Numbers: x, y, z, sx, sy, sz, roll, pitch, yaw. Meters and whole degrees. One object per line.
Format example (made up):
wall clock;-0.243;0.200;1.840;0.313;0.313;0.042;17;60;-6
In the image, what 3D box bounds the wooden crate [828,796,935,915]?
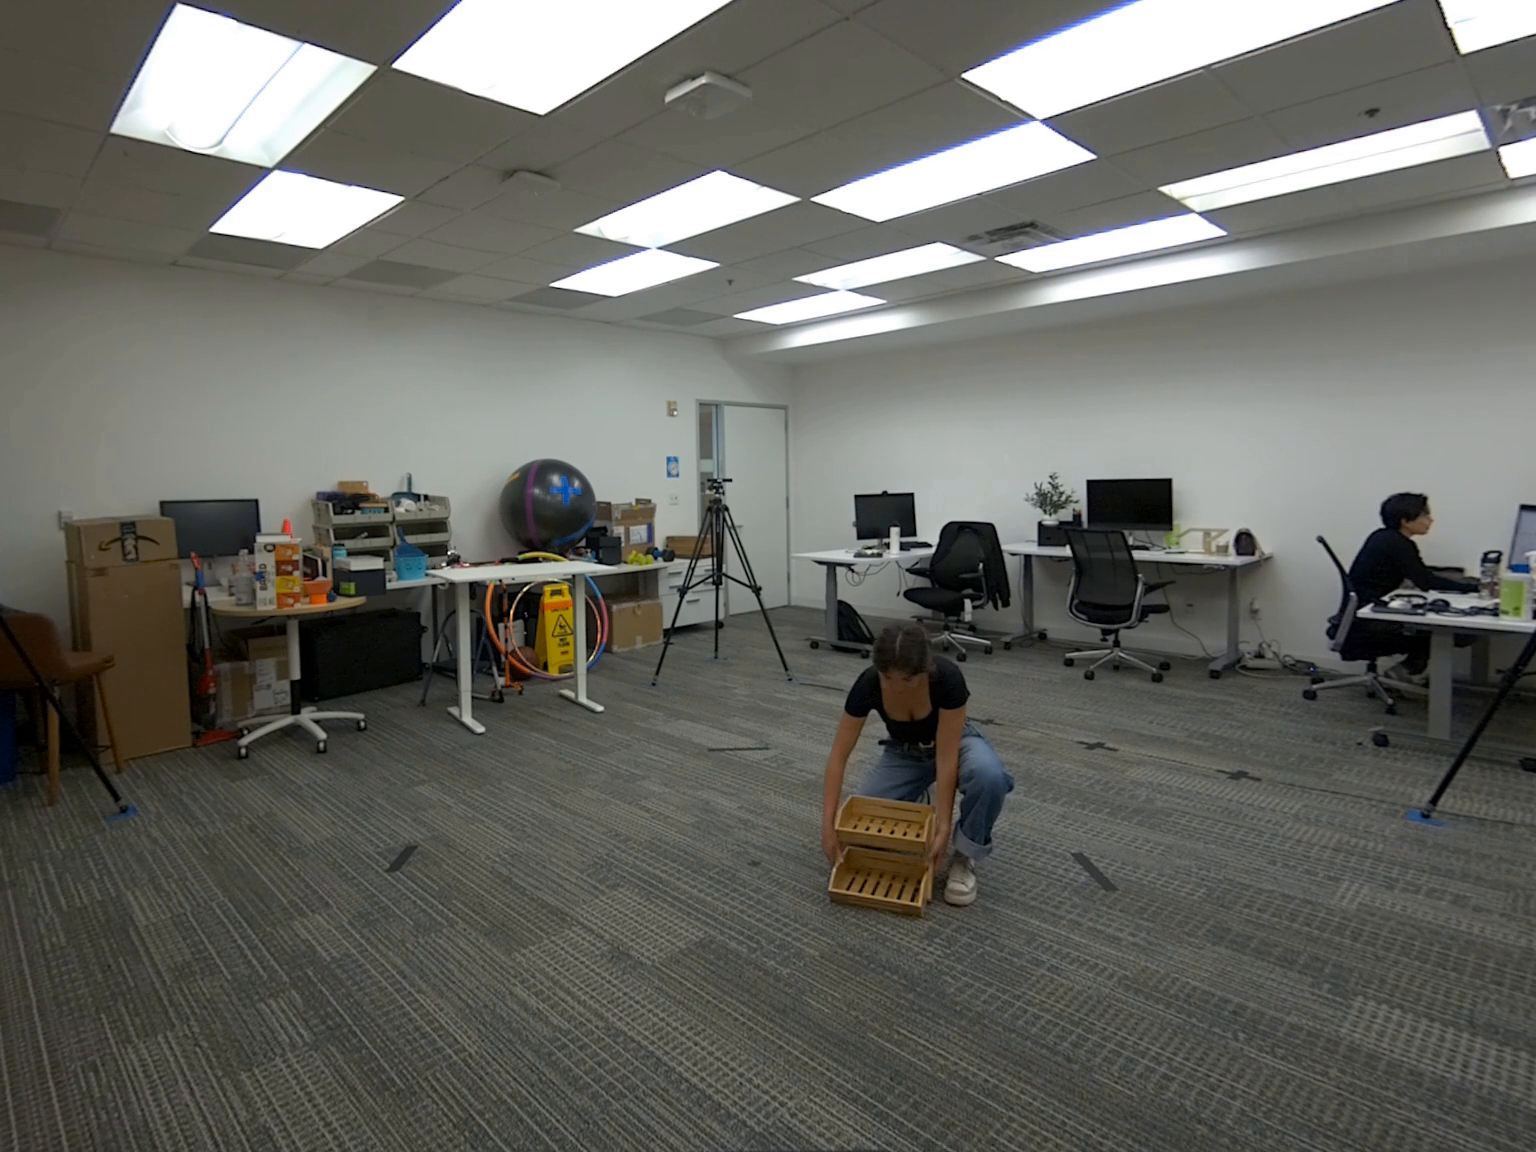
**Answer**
wooden crate;0.395;0.931;2.871;0.331;0.272;0.297;1;4;21
